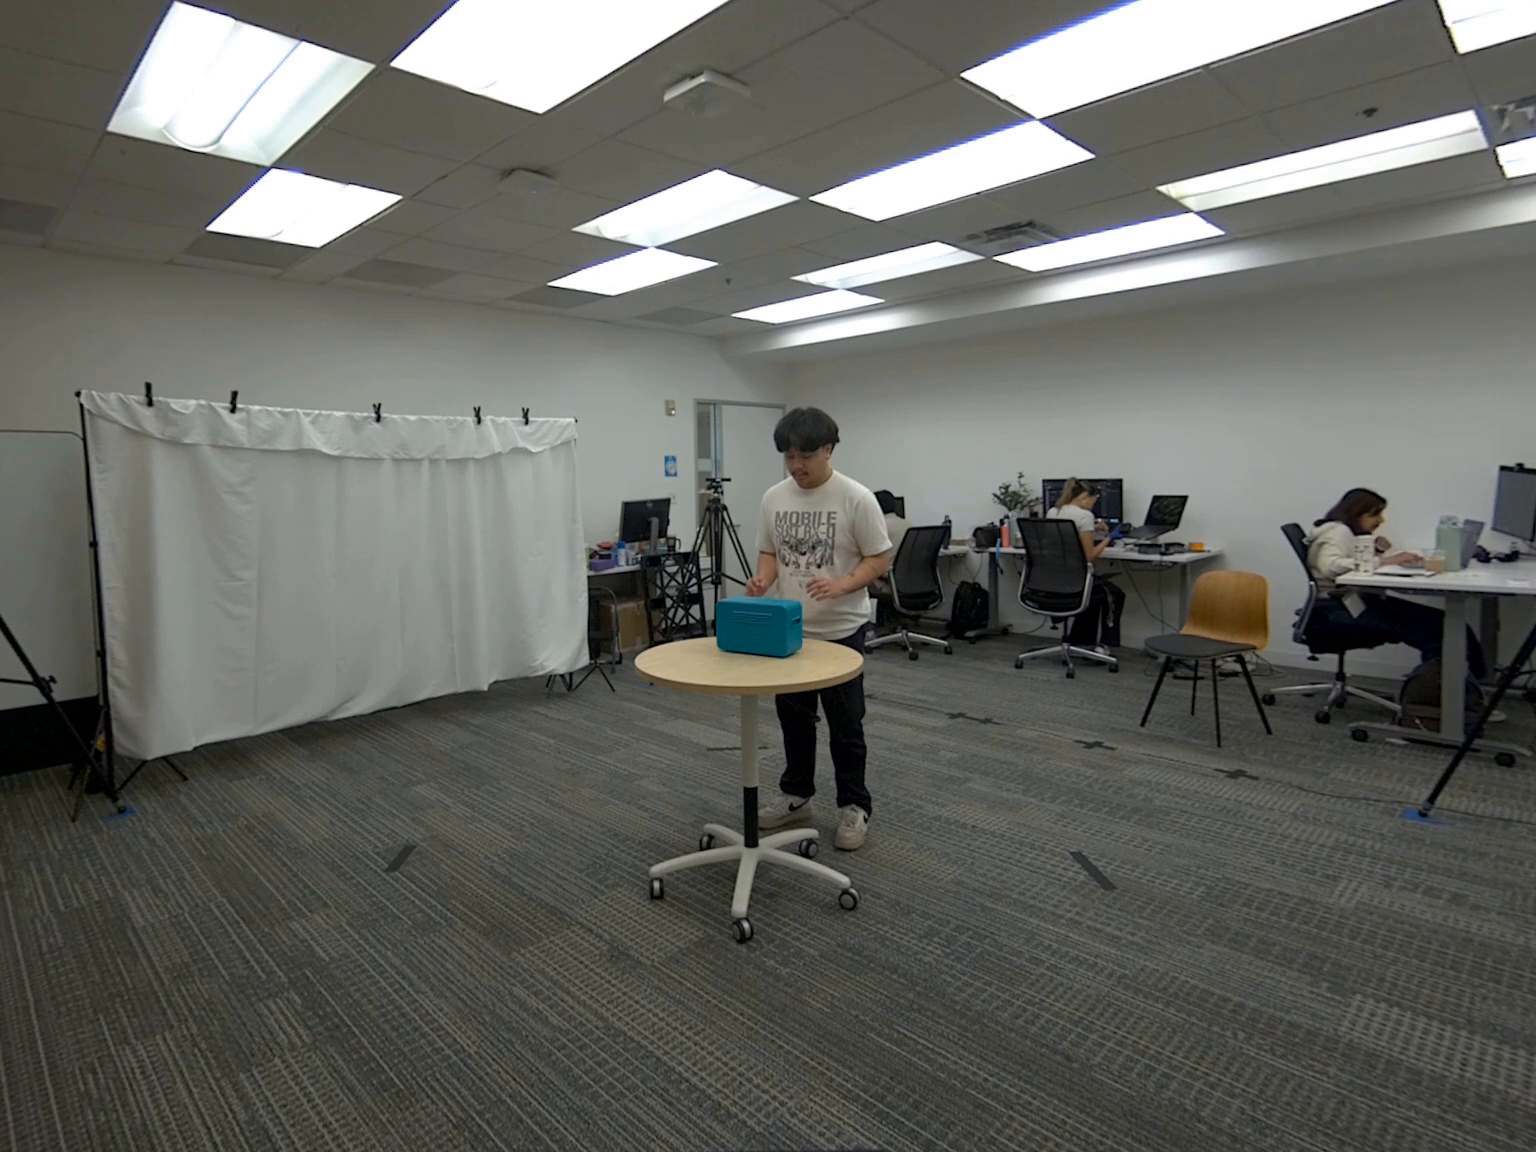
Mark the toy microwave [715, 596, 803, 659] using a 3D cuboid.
[{"bbox_3d":[-0.024,0.171,2.967,0.294,0.183,0.149,3,6,31],"label":"toy microwave"}]
